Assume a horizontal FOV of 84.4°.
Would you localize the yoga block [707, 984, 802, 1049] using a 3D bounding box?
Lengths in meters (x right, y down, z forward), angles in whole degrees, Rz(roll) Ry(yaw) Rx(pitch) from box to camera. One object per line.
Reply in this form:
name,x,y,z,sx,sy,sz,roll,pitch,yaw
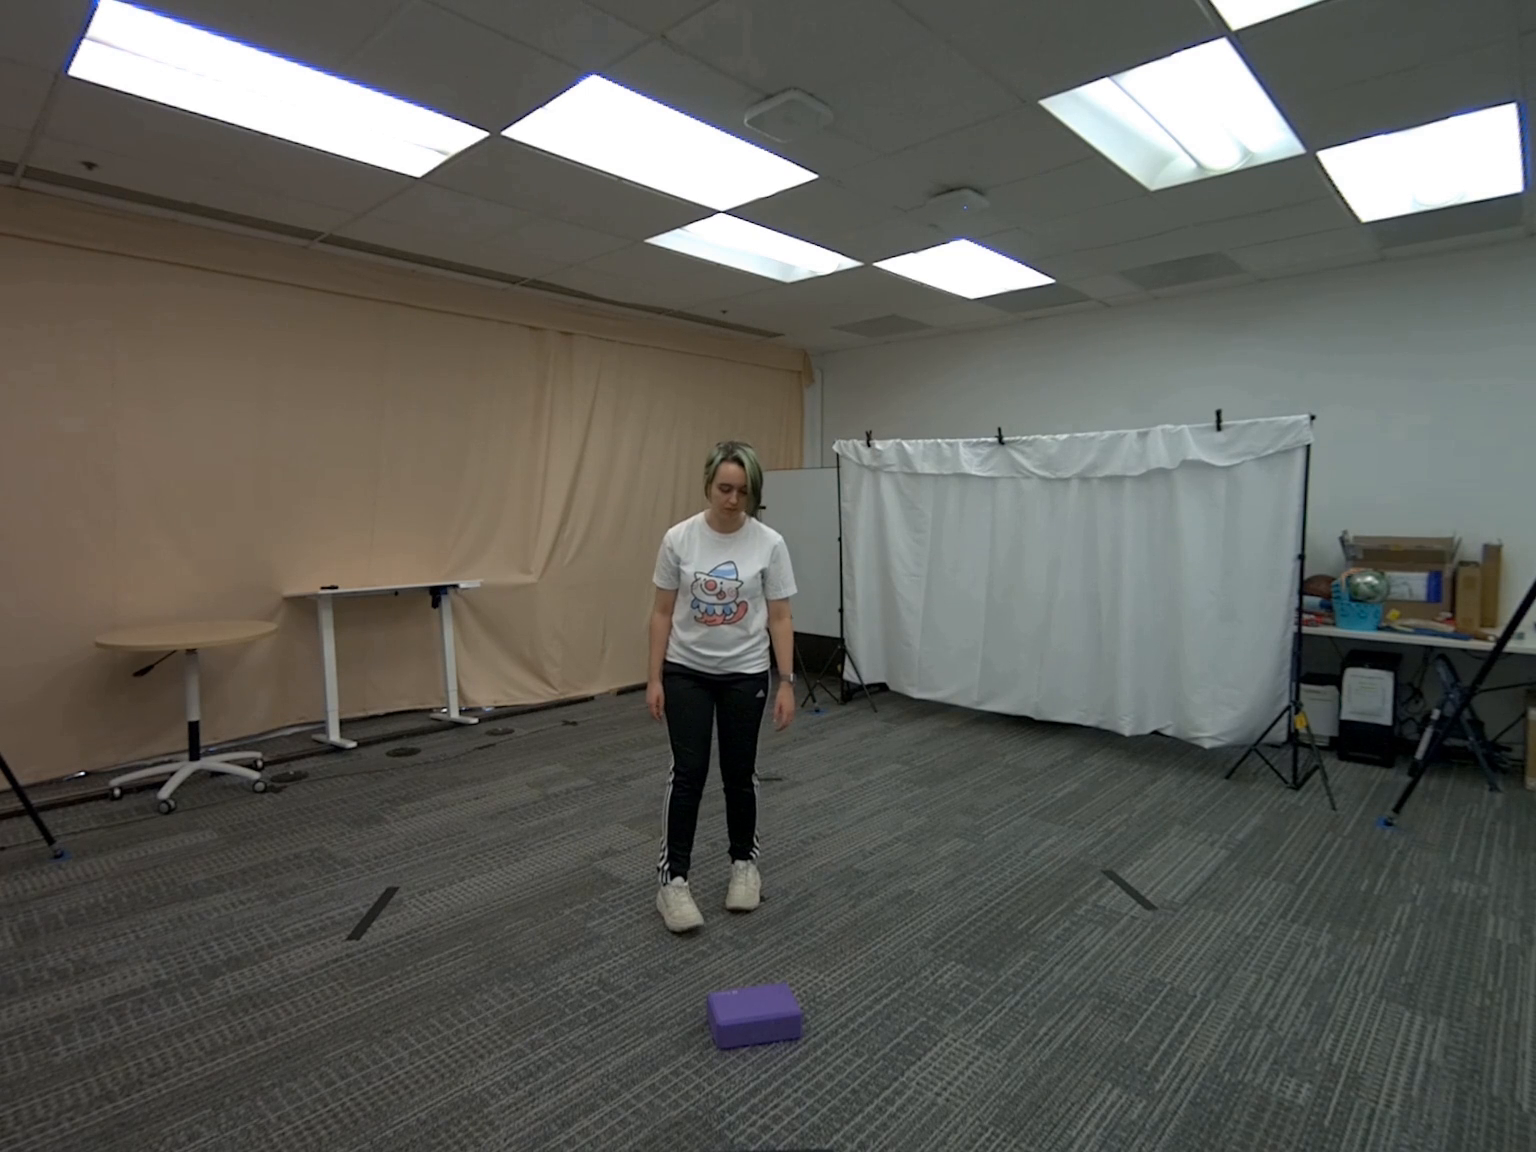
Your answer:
yoga block,-0.034,1.167,2.236,0.226,0.076,0.151,-1,5,-12
